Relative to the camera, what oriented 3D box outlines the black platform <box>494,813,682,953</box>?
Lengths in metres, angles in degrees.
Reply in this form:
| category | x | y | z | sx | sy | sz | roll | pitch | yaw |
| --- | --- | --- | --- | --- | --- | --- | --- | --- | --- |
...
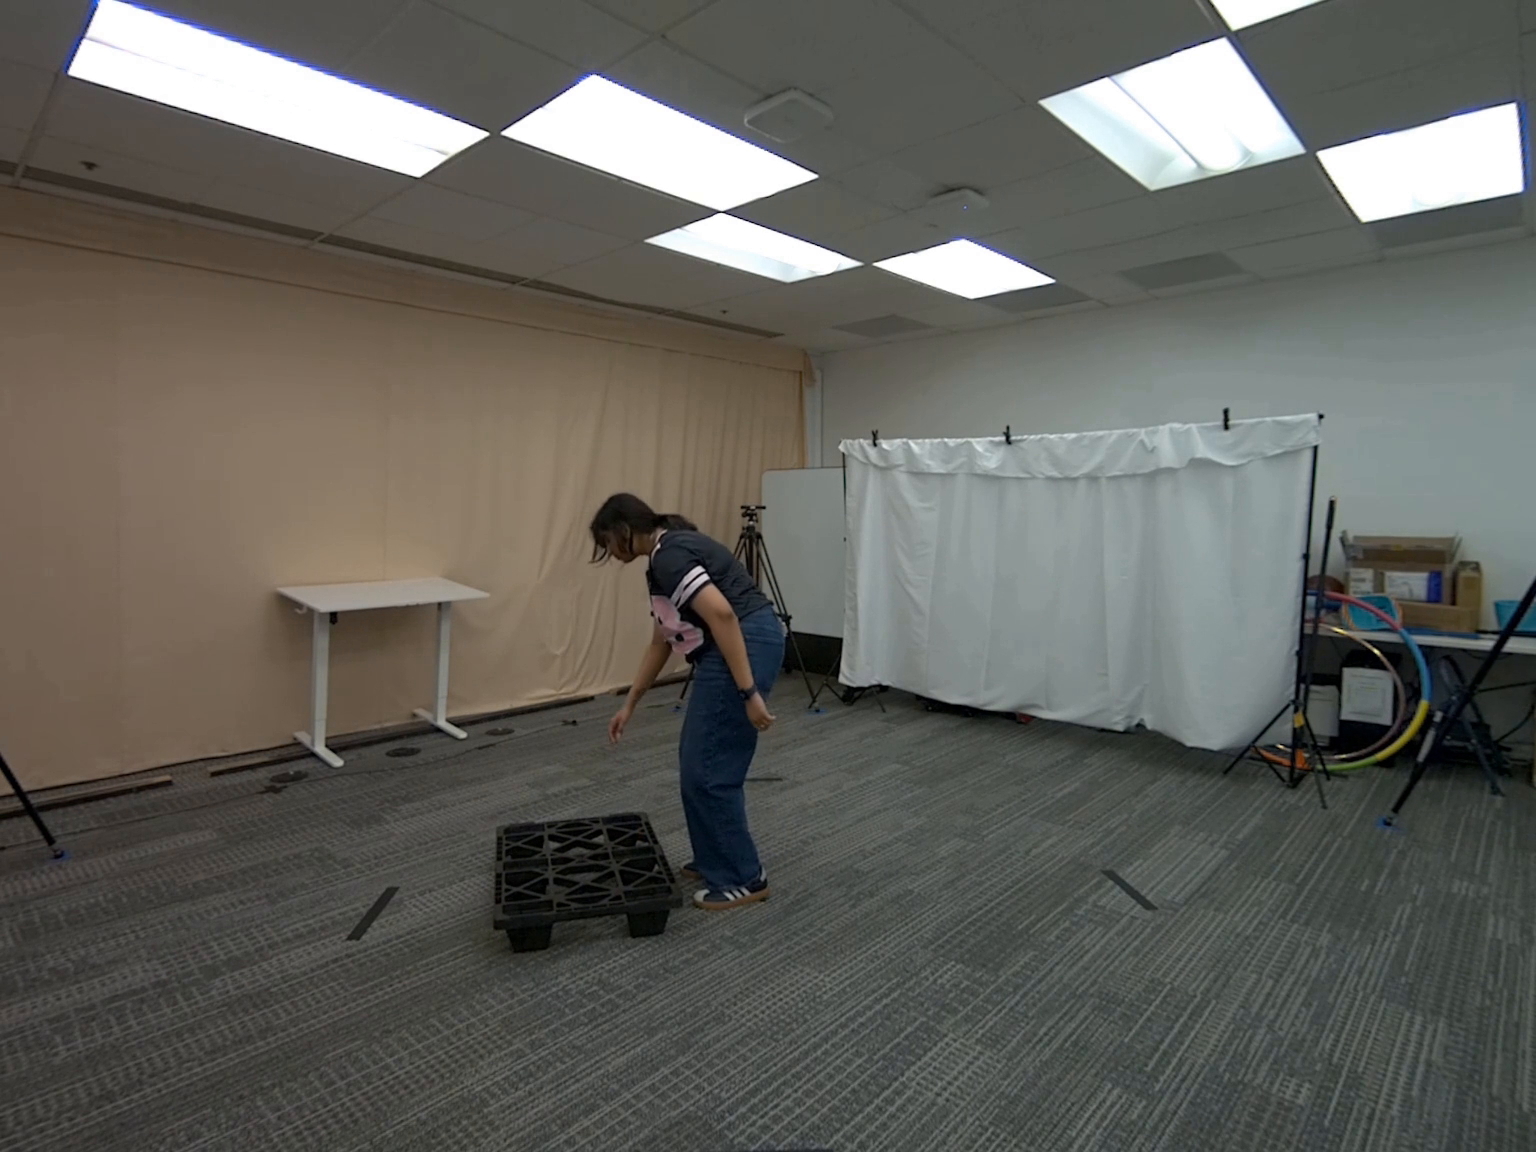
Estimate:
| category | x | y | z | sx | sy | sz | roll | pitch | yaw |
| --- | --- | --- | --- | --- | --- | --- | --- | --- | --- |
| black platform | -0.677 | 1.080 | 3.026 | 0.596 | 0.143 | 0.820 | -2 | 5 | -16 |
